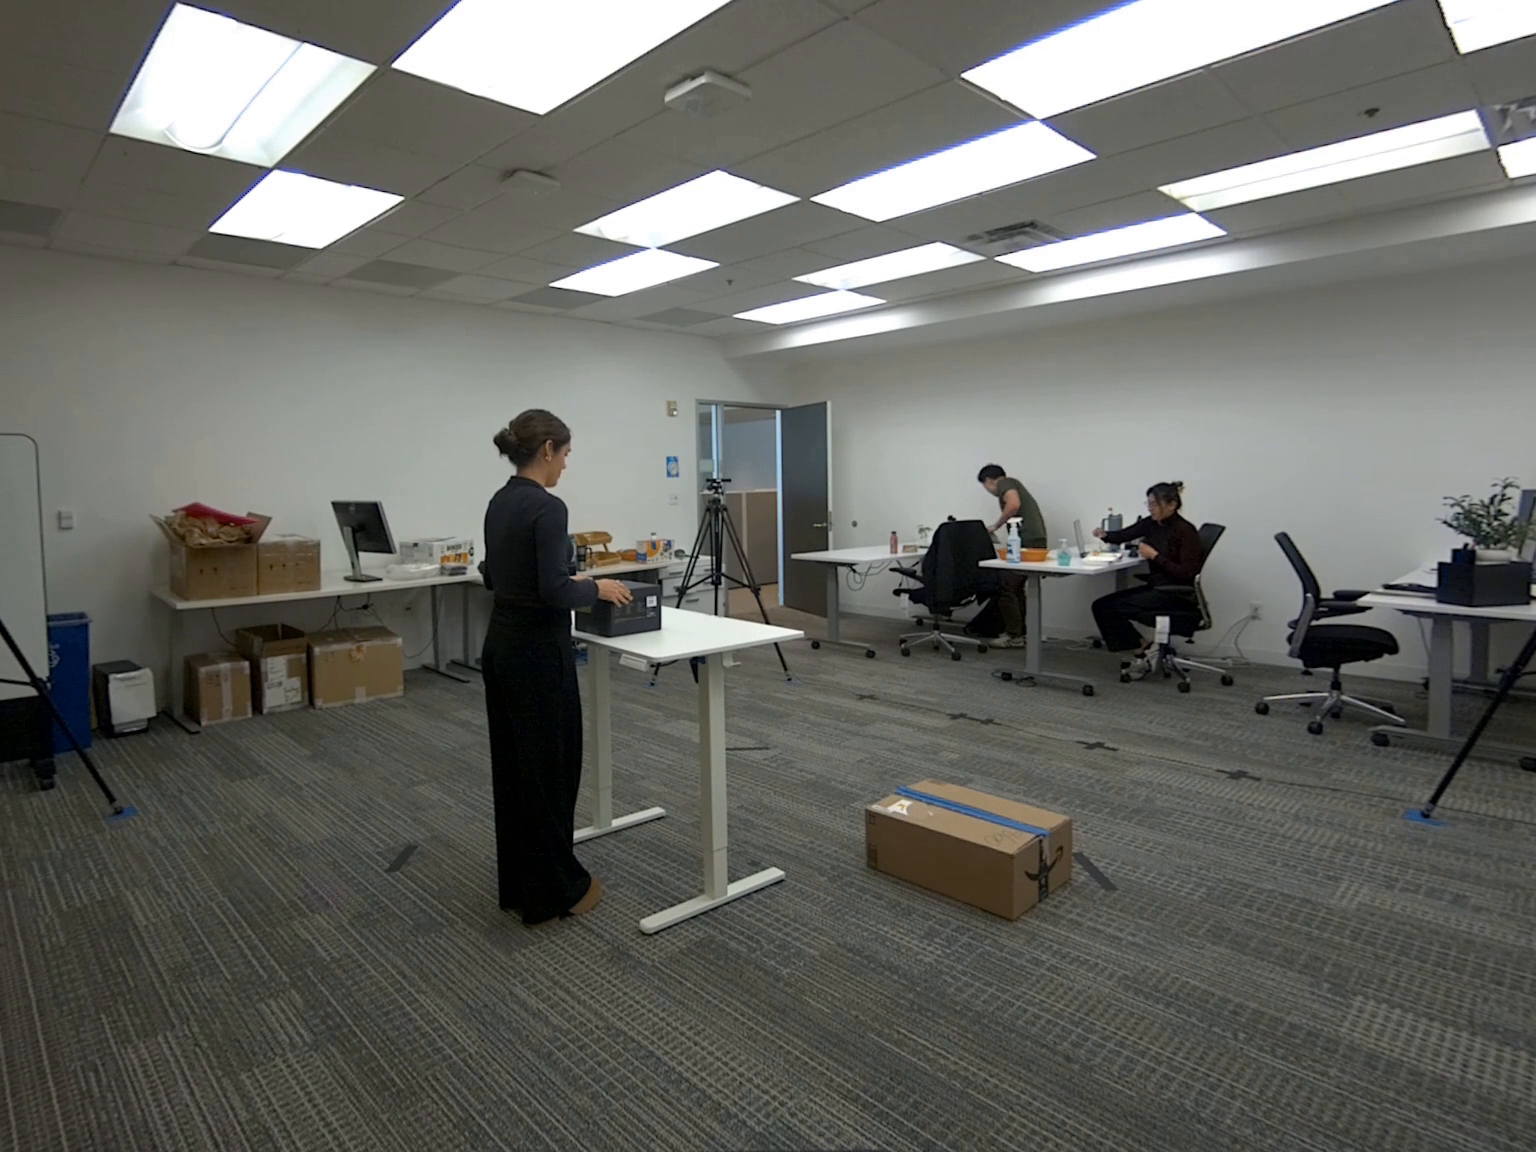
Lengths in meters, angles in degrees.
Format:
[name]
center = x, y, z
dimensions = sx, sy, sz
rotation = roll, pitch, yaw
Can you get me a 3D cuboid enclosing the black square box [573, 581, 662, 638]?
[black square box]
center = -0.529, 0.116, 2.963
dimensions = 0.211, 0.155, 0.234
rotation = -5, 4, -41
